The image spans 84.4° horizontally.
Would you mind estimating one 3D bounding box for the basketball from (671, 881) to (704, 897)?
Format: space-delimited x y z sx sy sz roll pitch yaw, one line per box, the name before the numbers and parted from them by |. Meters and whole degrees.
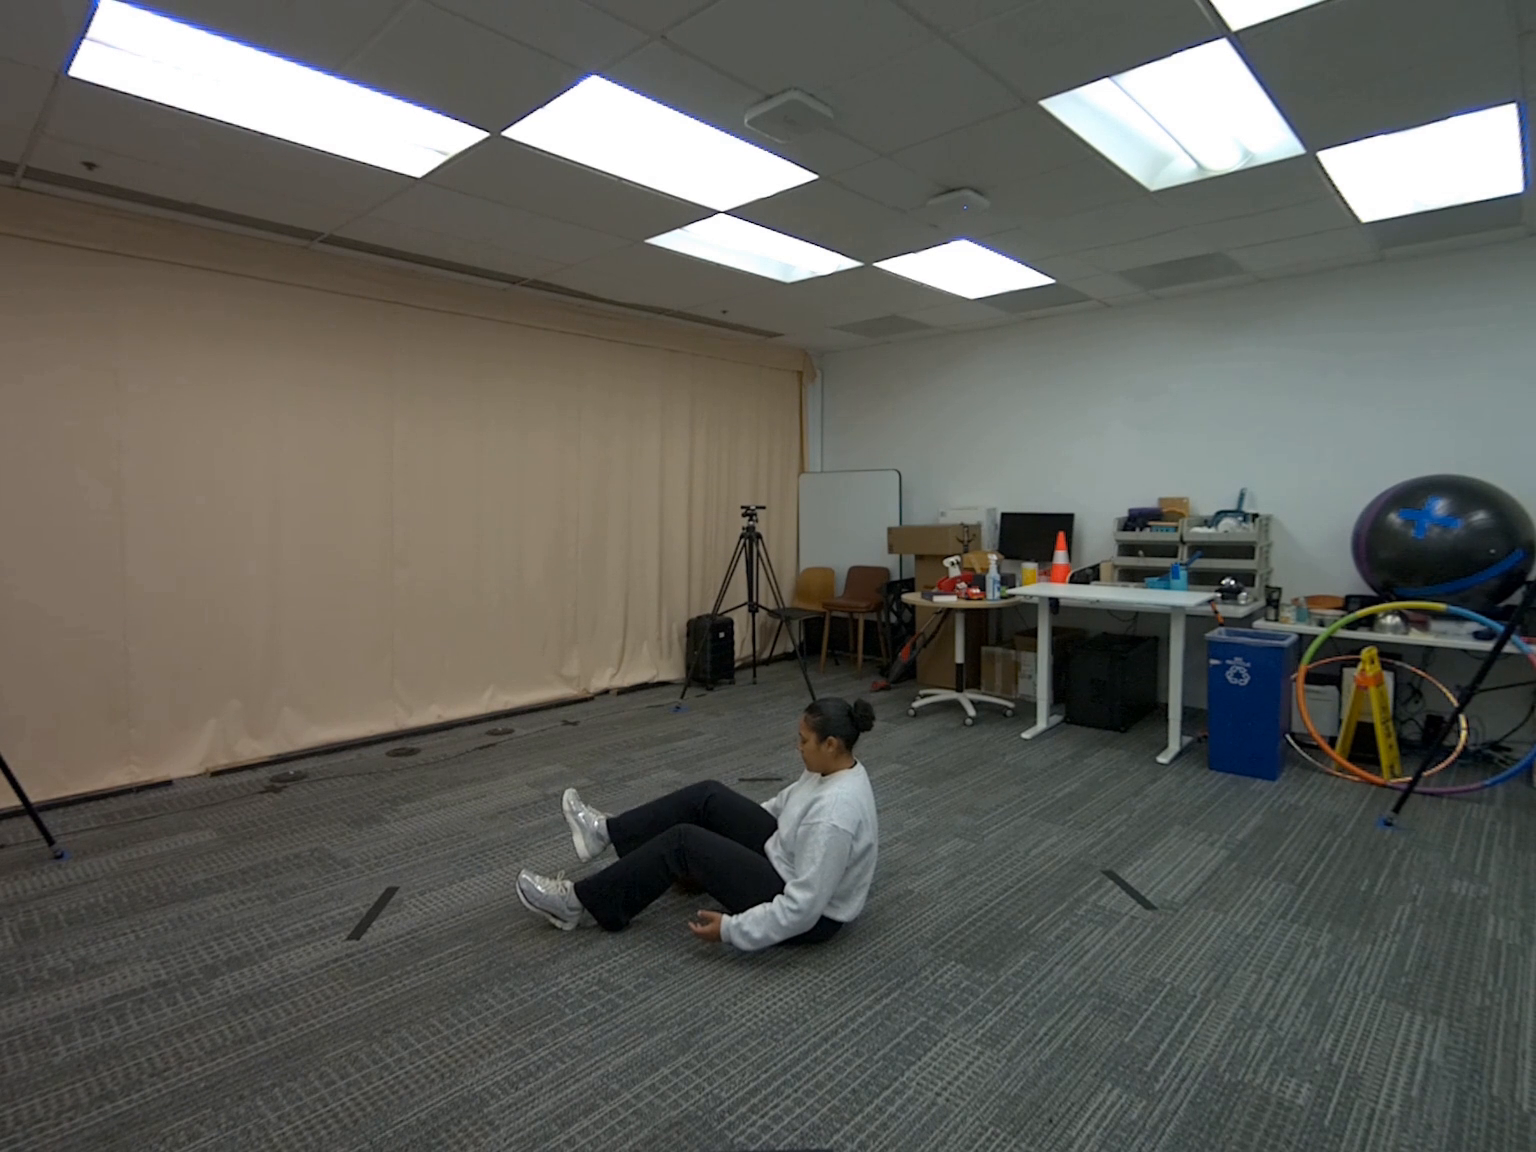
basketball | -0.271 1.021 3.082 0.236 0.235 0.237 0 4 -2
